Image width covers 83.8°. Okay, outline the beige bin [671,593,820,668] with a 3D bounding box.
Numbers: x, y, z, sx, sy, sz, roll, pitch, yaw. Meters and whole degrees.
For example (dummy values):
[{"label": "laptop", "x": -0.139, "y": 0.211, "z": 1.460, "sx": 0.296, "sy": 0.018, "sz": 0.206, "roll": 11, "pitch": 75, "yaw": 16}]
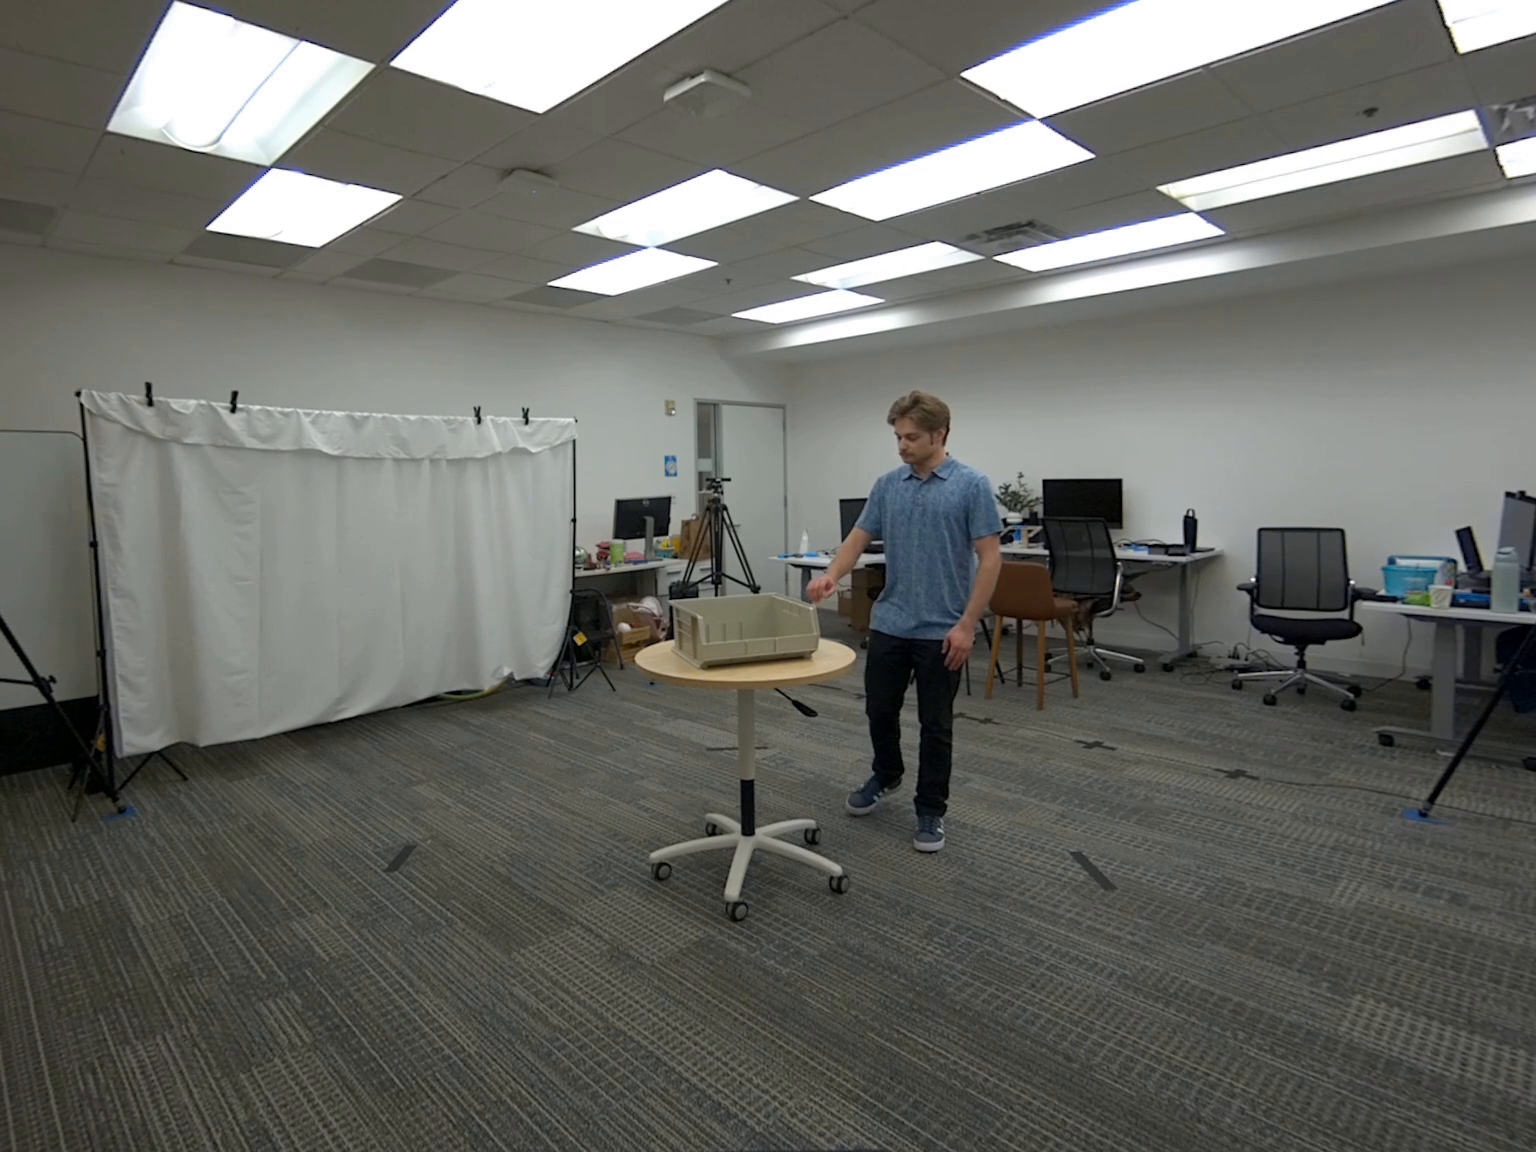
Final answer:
[{"label": "beige bin", "x": -0.092, "y": 0.186, "z": 2.955, "sx": 0.415, "sy": 0.188, "sz": 0.385, "roll": -4, "pitch": 6, "yaw": -20}]
